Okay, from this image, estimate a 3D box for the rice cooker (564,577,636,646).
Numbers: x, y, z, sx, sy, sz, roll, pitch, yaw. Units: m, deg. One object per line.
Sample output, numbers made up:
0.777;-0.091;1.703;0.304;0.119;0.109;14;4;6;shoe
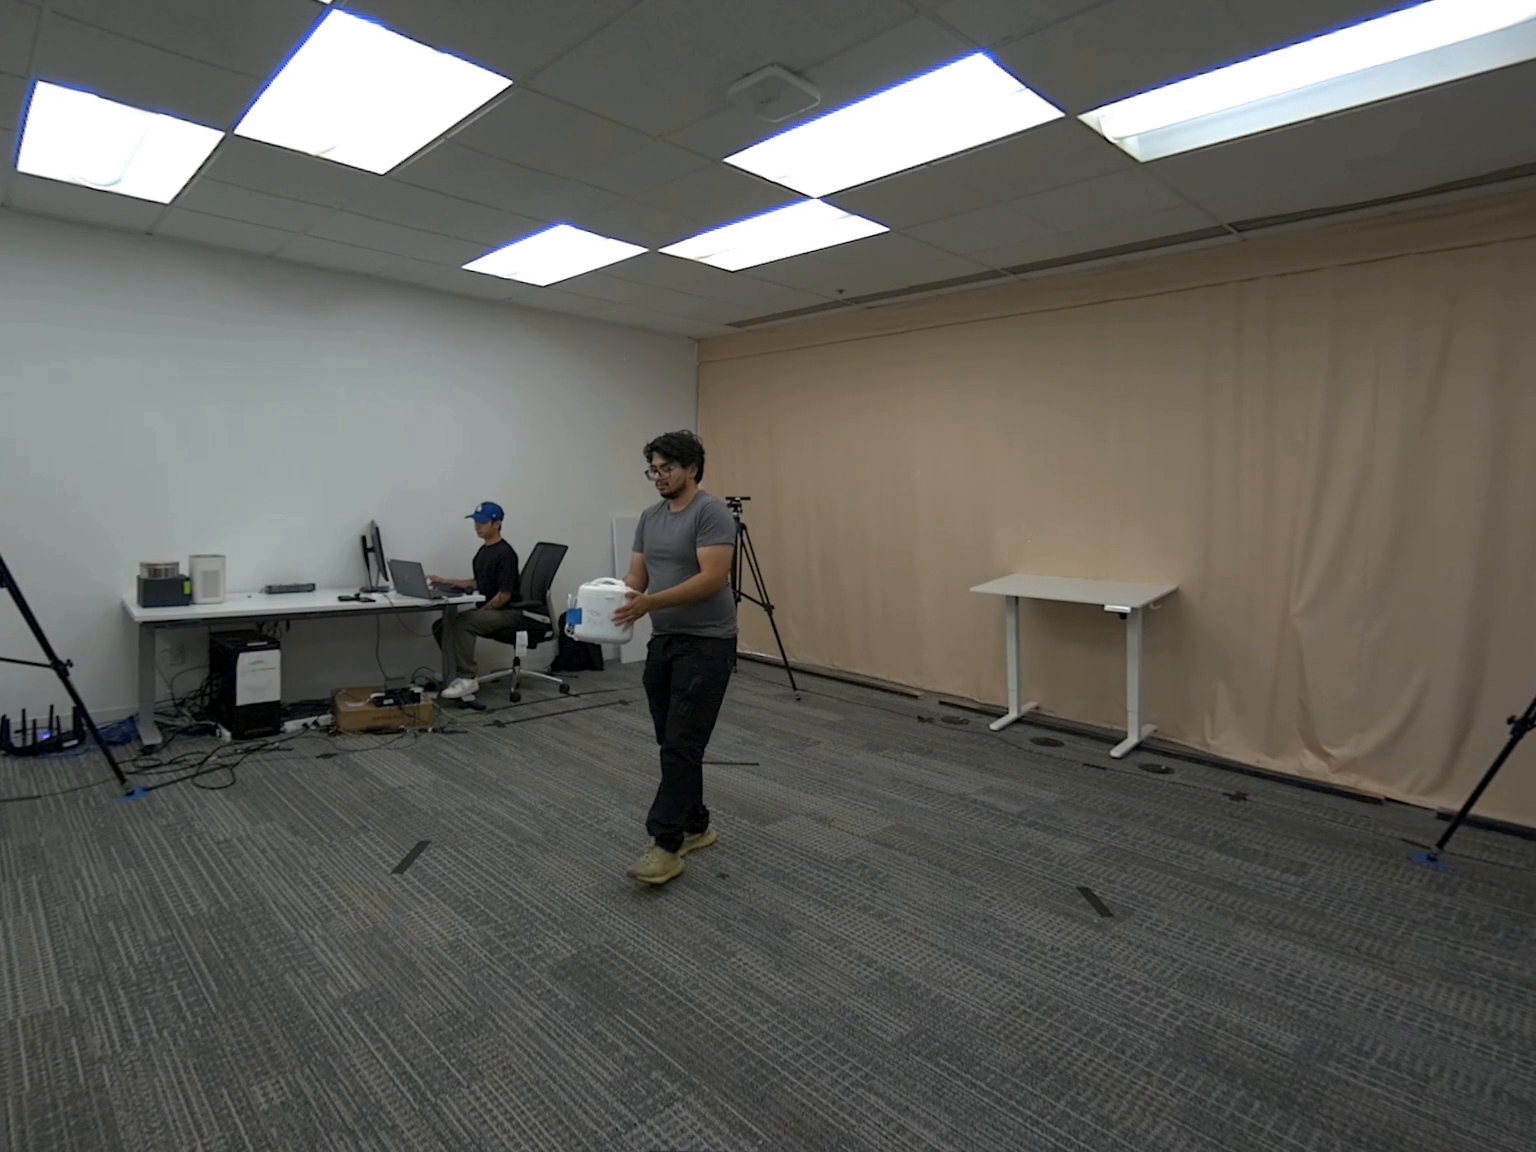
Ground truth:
-0.592;0.123;3.000;0.226;0.233;0.212;7;-1;38;rice cooker
